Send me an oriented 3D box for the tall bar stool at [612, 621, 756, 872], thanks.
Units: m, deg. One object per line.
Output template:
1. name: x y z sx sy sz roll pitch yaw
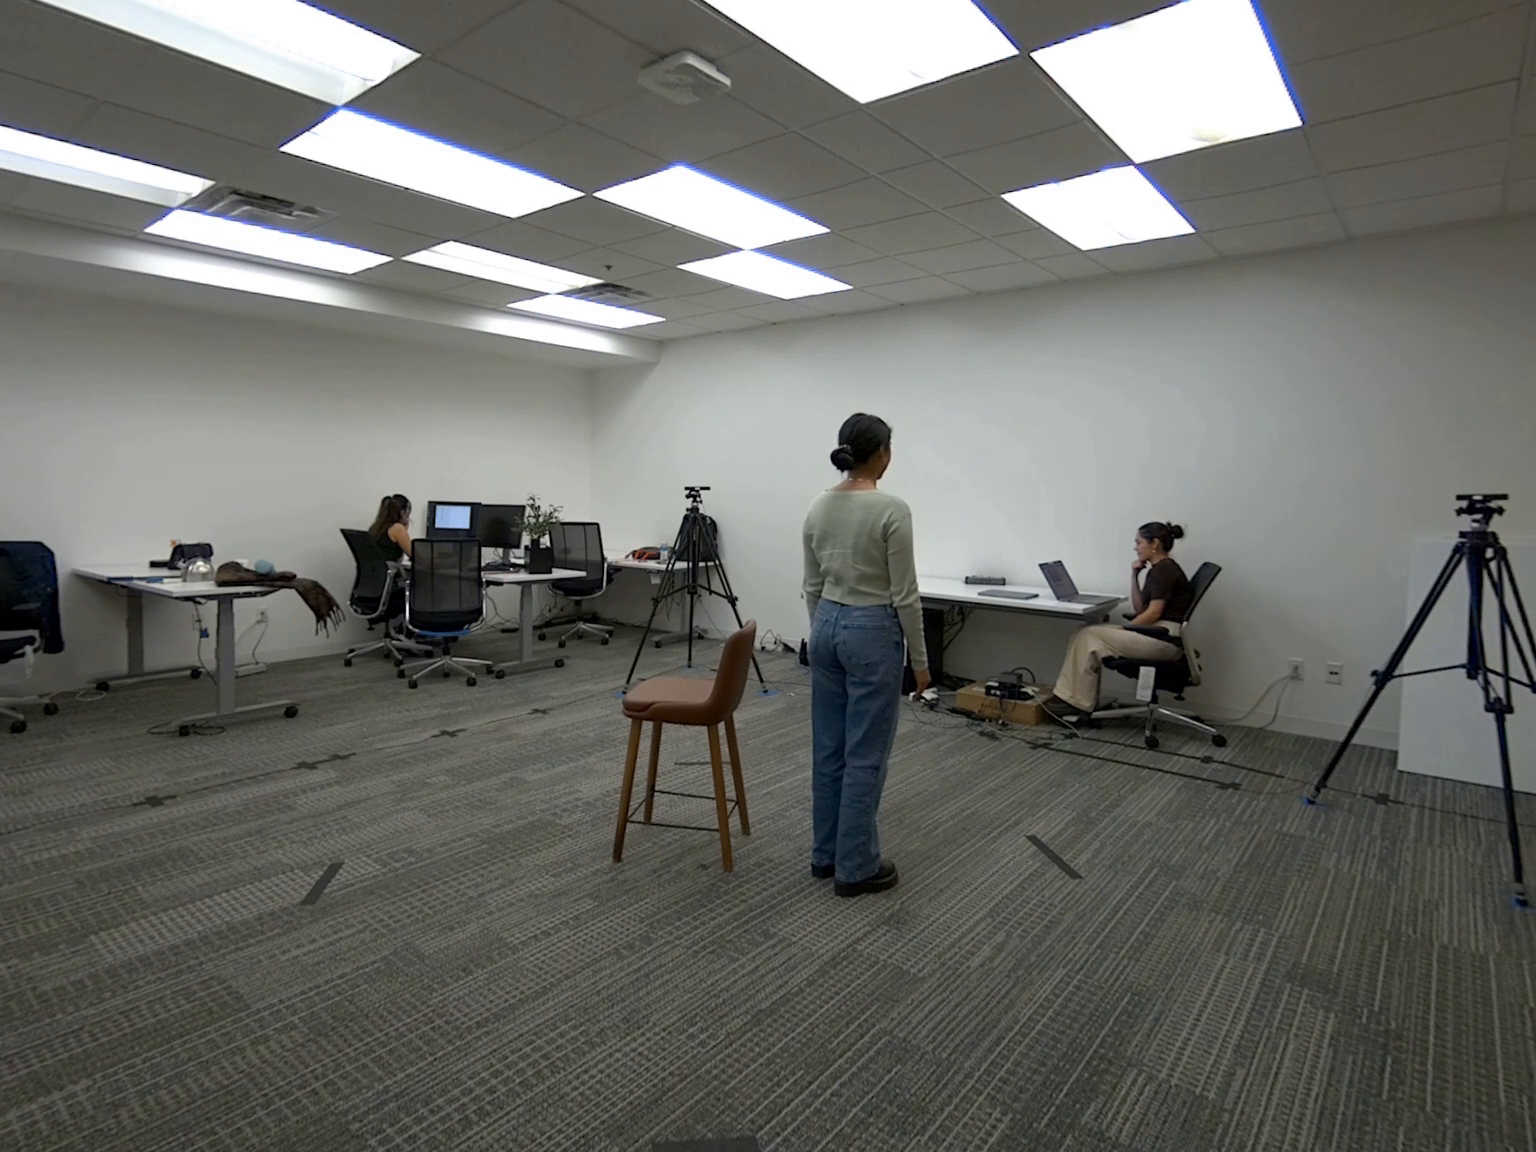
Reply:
1. tall bar stool: -0.314 0.607 3.278 0.474 0.887 0.451 4 4 12
